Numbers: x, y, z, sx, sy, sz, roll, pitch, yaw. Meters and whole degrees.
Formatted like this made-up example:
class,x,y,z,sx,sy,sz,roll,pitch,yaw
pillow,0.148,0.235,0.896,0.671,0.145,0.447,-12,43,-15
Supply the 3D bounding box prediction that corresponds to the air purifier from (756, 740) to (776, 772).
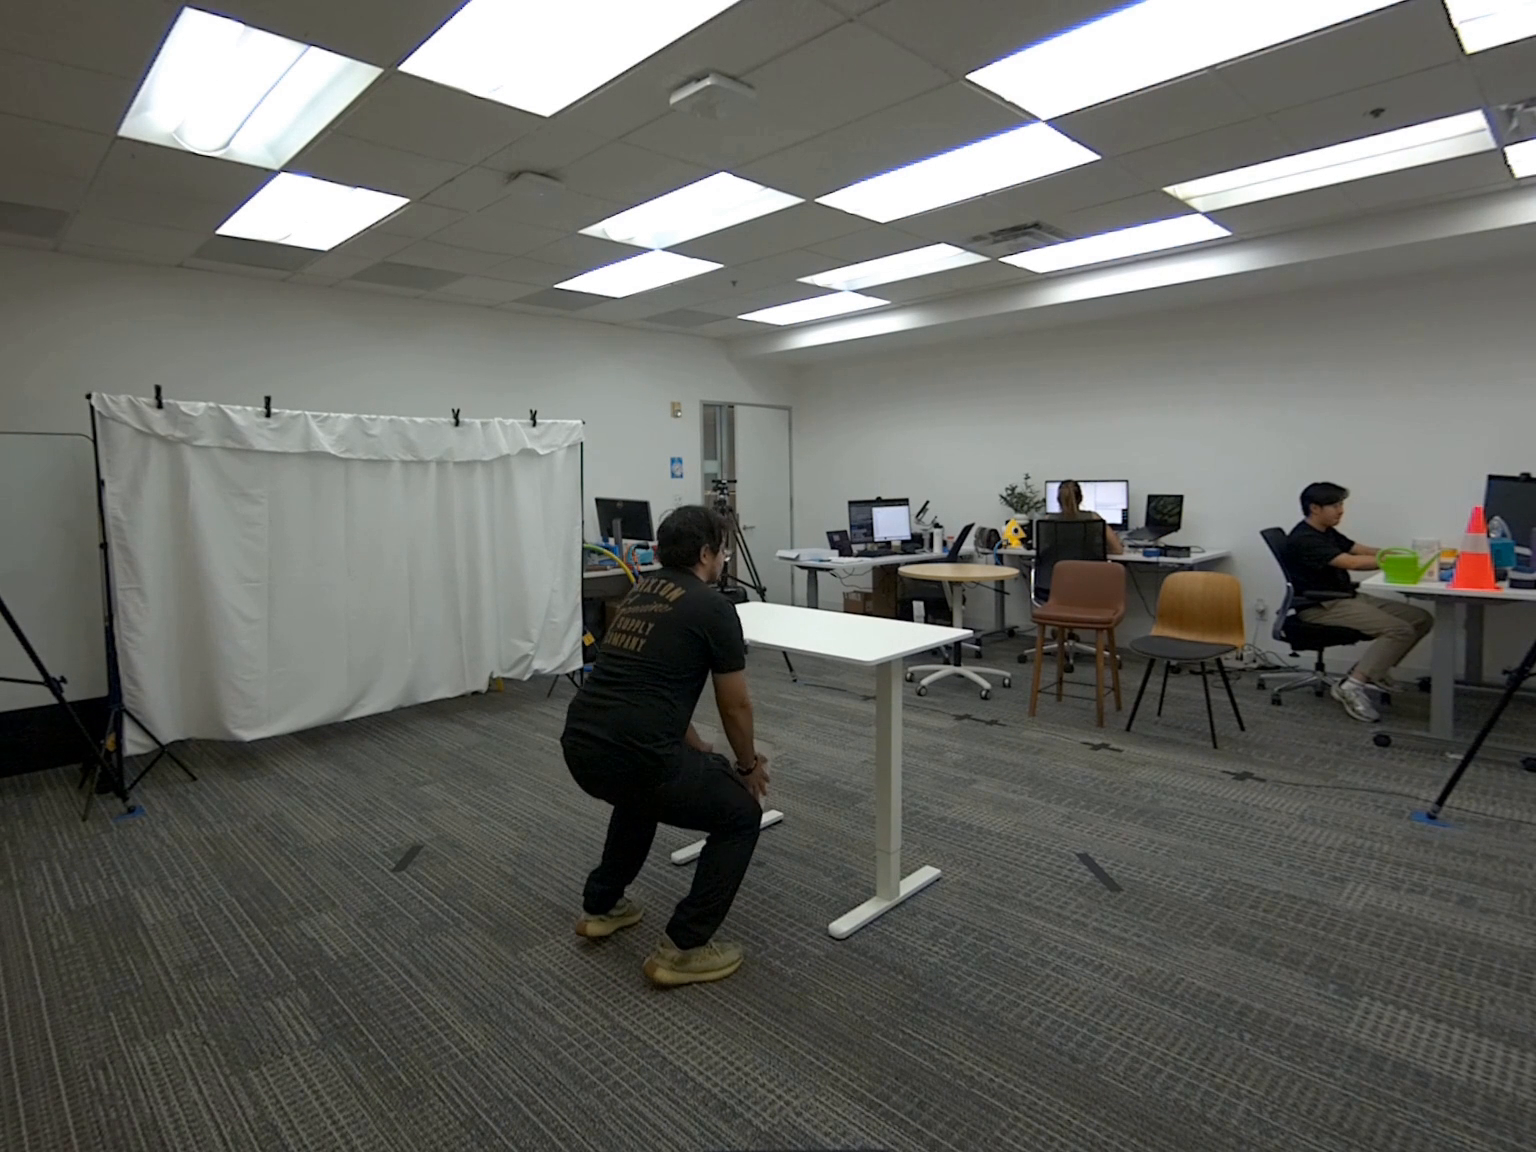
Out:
class,x,y,z,sx,sy,sz,roll,pitch,yaw
air purifier,-0.095,0.665,2.796,0.176,0.268,0.165,-4,-21,42
